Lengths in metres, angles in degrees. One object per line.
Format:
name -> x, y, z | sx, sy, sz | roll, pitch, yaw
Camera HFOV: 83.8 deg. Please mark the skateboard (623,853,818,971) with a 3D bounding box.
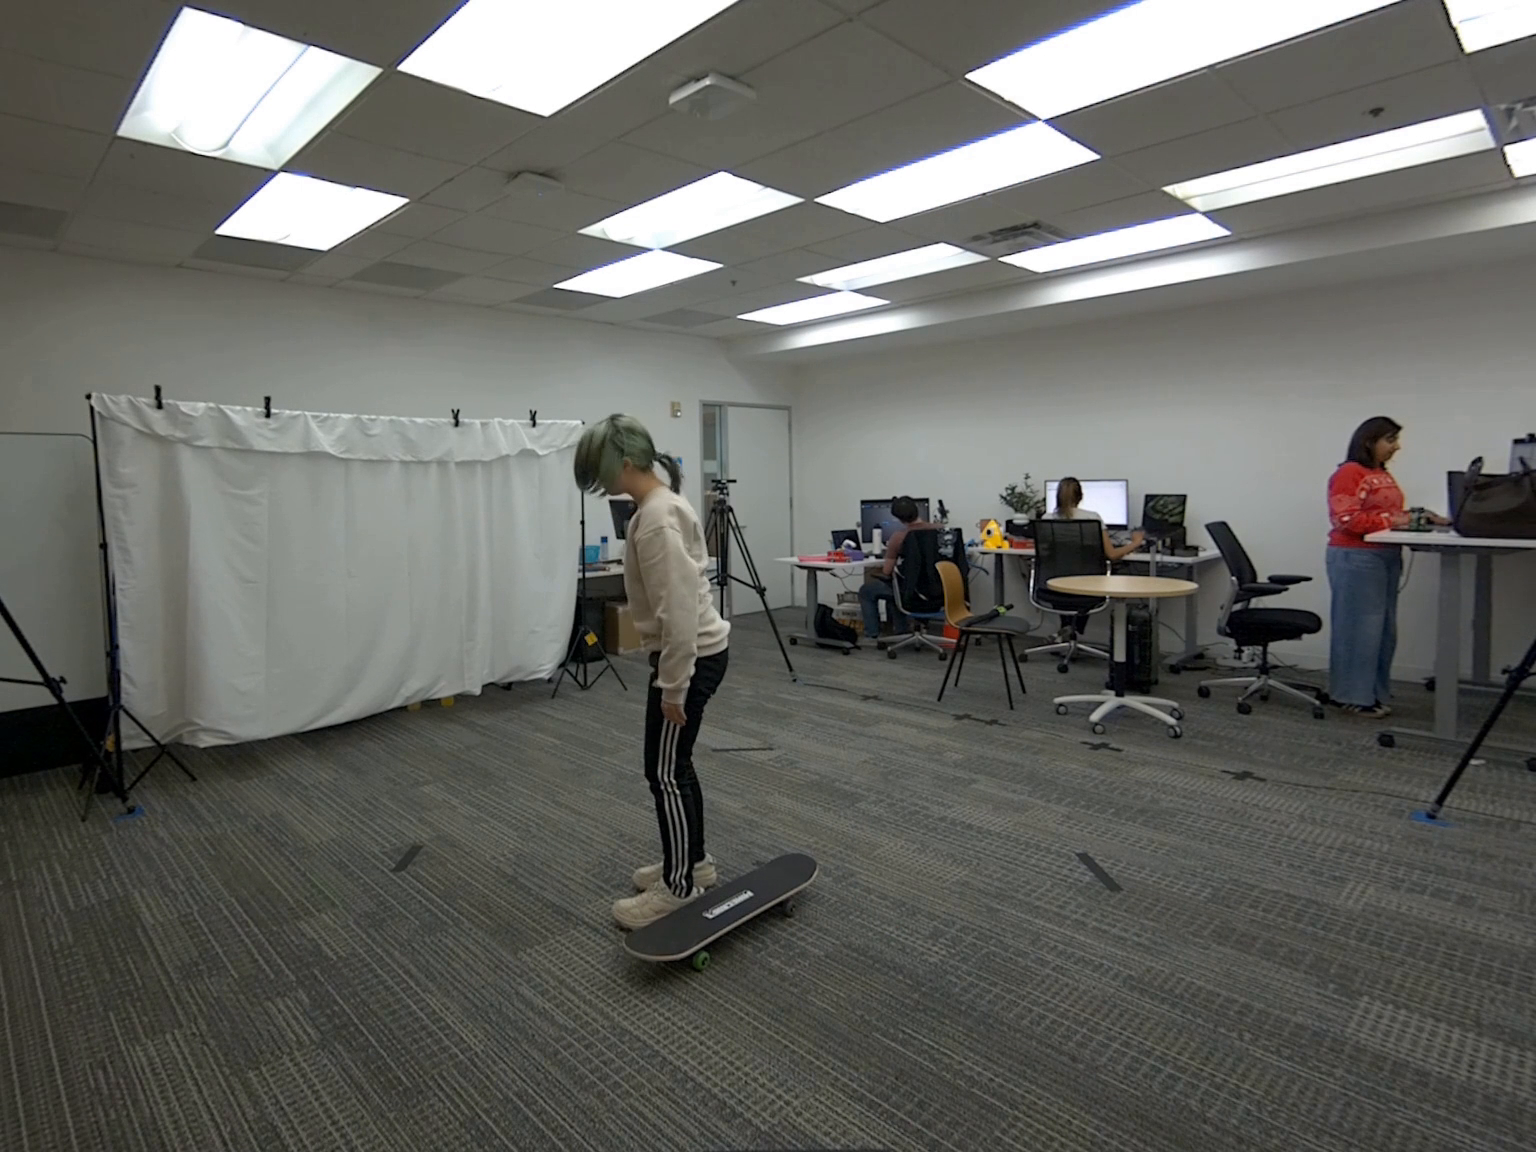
skateboard -> -0.119, 1.046, 2.642 | 0.199, 0.110, 0.765 | 4, 8, 42
